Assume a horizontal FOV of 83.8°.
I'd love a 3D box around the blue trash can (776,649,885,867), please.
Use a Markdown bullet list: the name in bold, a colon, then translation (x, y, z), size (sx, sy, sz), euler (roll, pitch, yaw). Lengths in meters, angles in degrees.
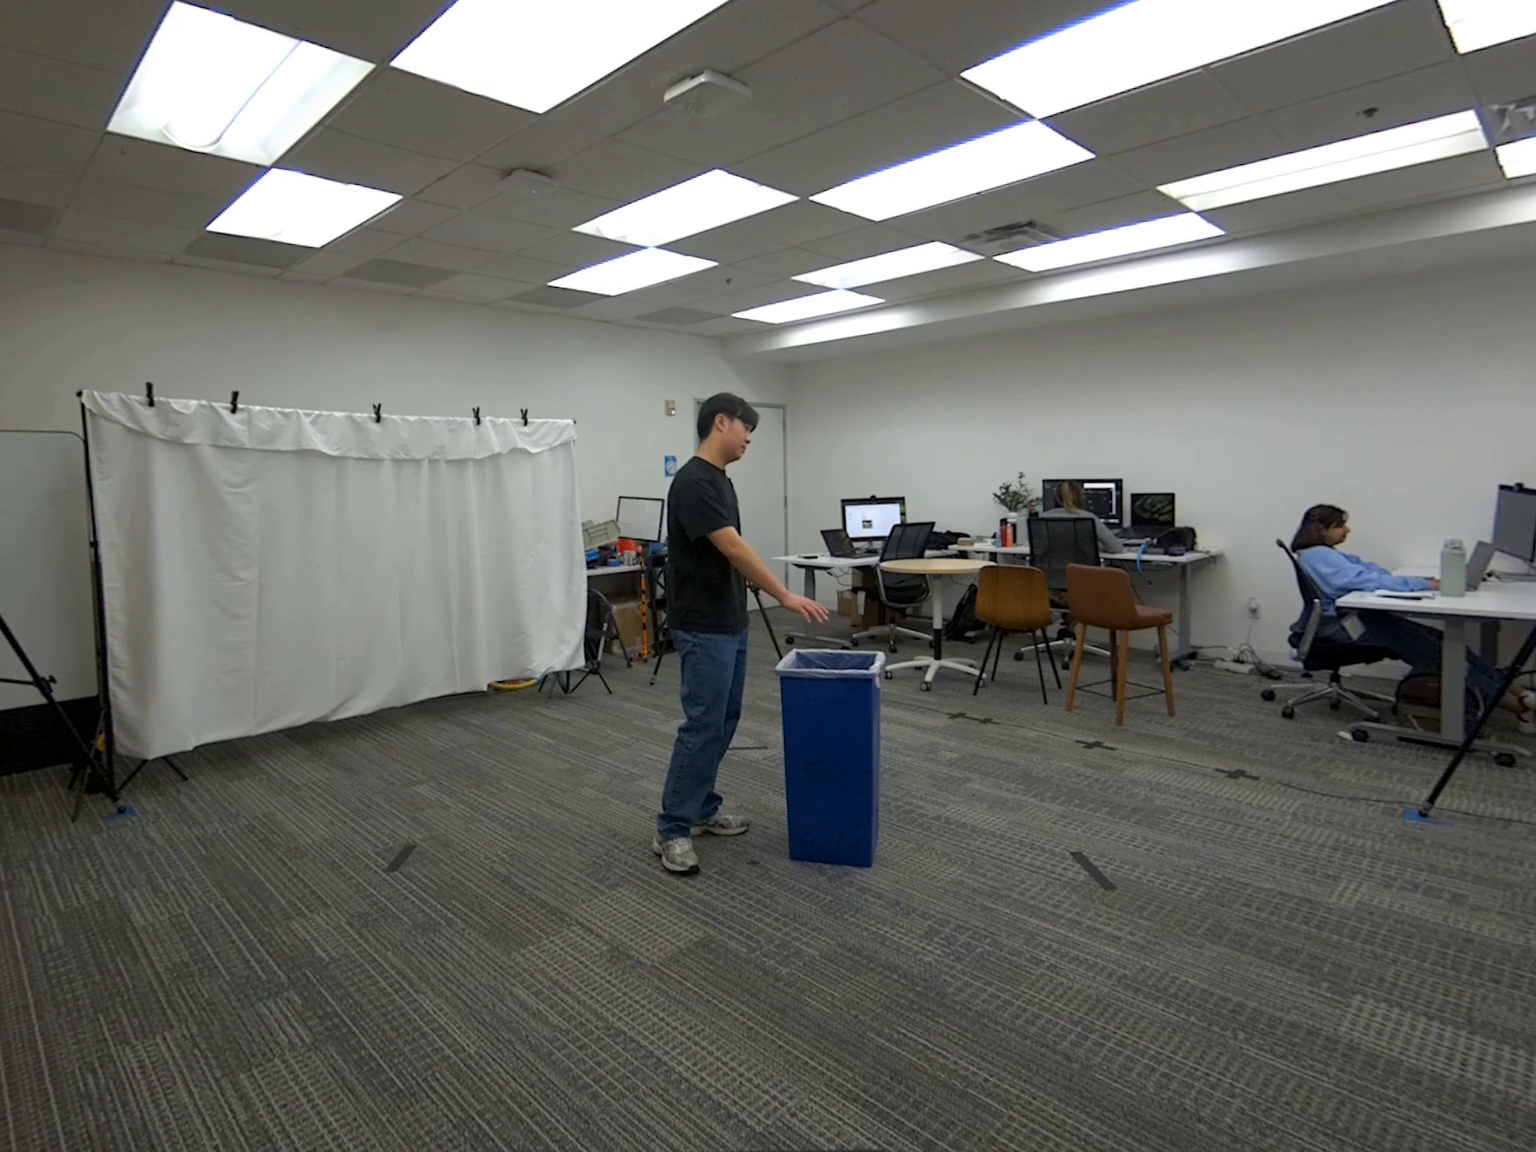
- **blue trash can**: translation (0.254, 0.665, 3.209), size (0.379, 0.711, 0.374), euler (-1, 3, 14)
